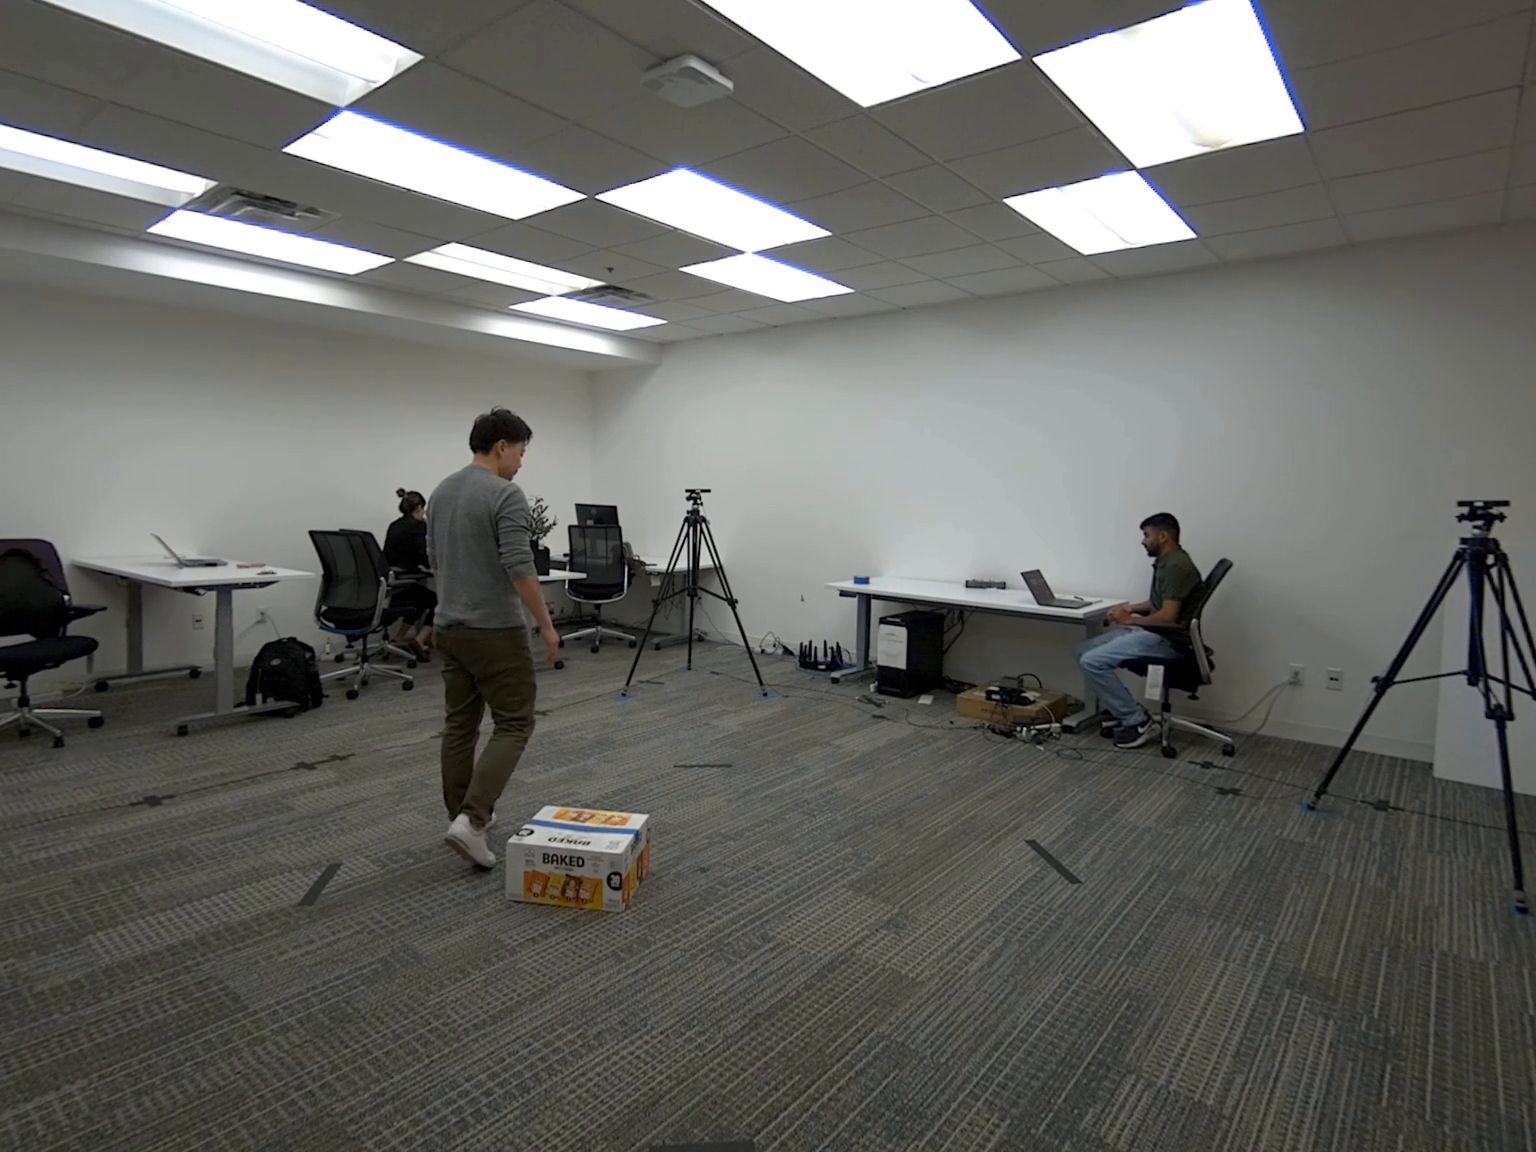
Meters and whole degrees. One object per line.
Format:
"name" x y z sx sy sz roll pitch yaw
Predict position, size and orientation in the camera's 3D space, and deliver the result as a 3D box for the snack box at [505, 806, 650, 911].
"snack box" -0.664 0.981 2.964 0.410 0.205 0.338 2 4 9
